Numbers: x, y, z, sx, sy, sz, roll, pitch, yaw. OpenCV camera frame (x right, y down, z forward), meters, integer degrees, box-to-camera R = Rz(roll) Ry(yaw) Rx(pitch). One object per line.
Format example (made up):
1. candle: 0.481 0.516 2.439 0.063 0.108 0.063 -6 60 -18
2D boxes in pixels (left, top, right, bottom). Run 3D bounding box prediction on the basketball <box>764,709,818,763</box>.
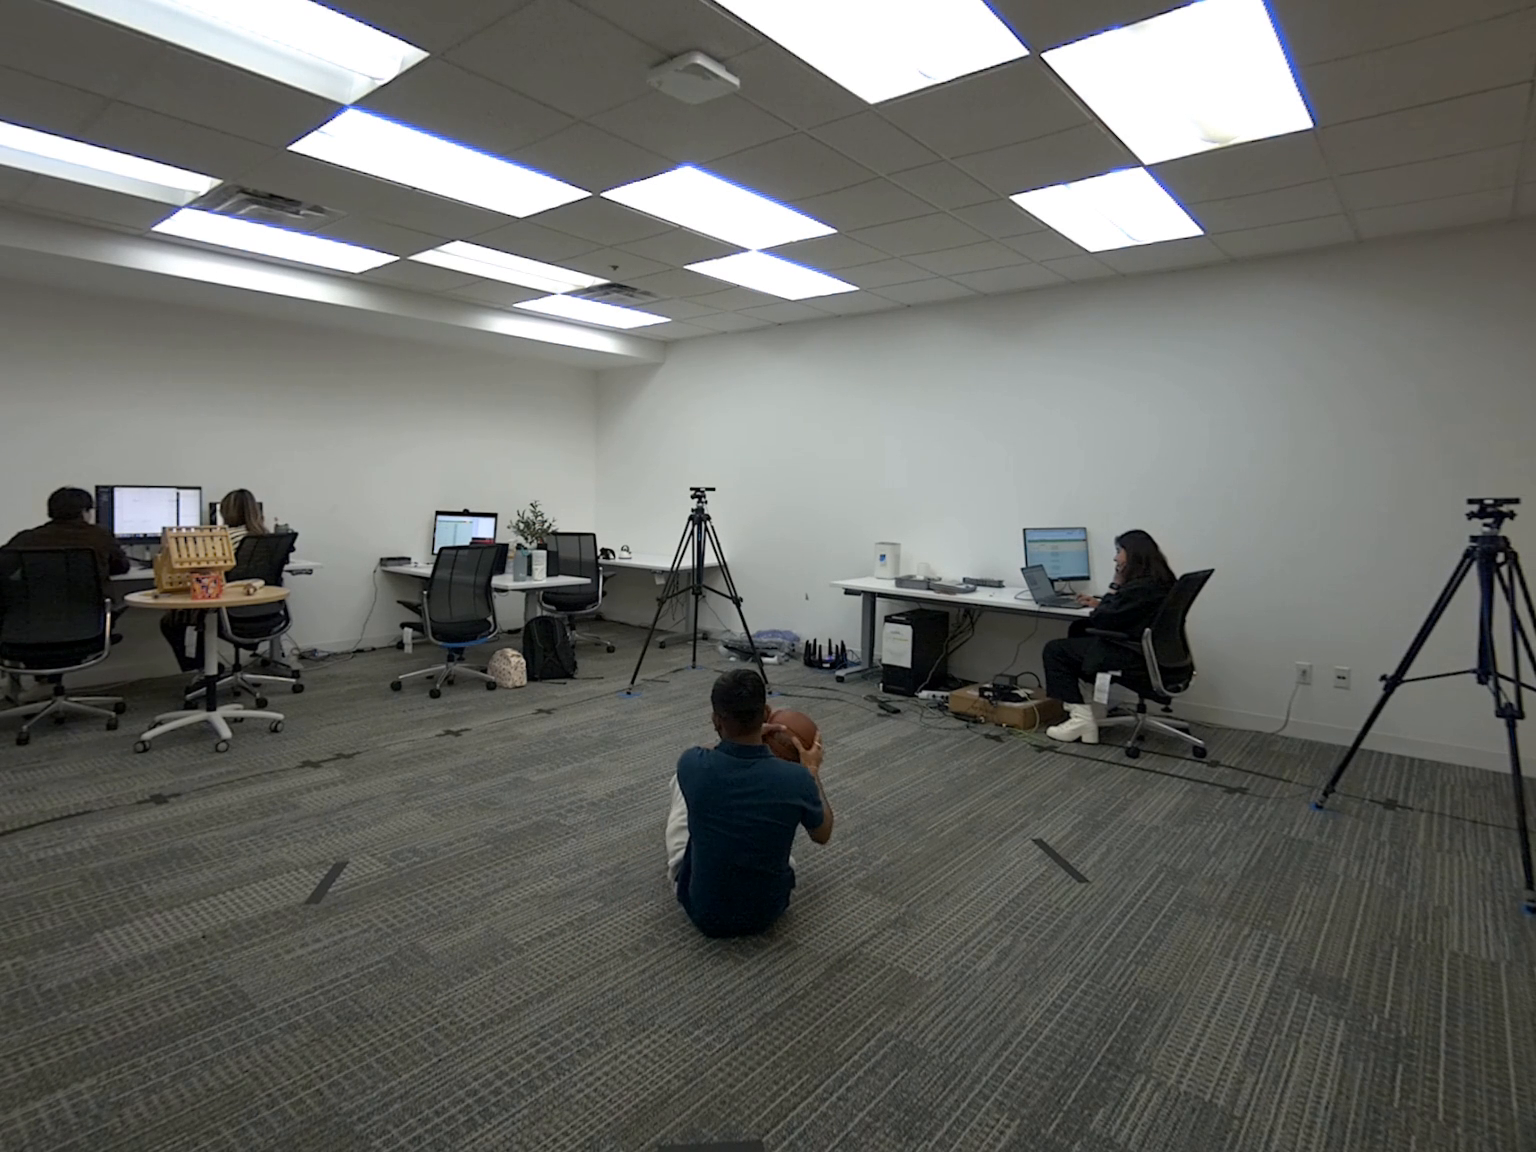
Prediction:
1. basketball: 0.059 0.630 3.165 0.235 0.235 0.237 1 4 -2
